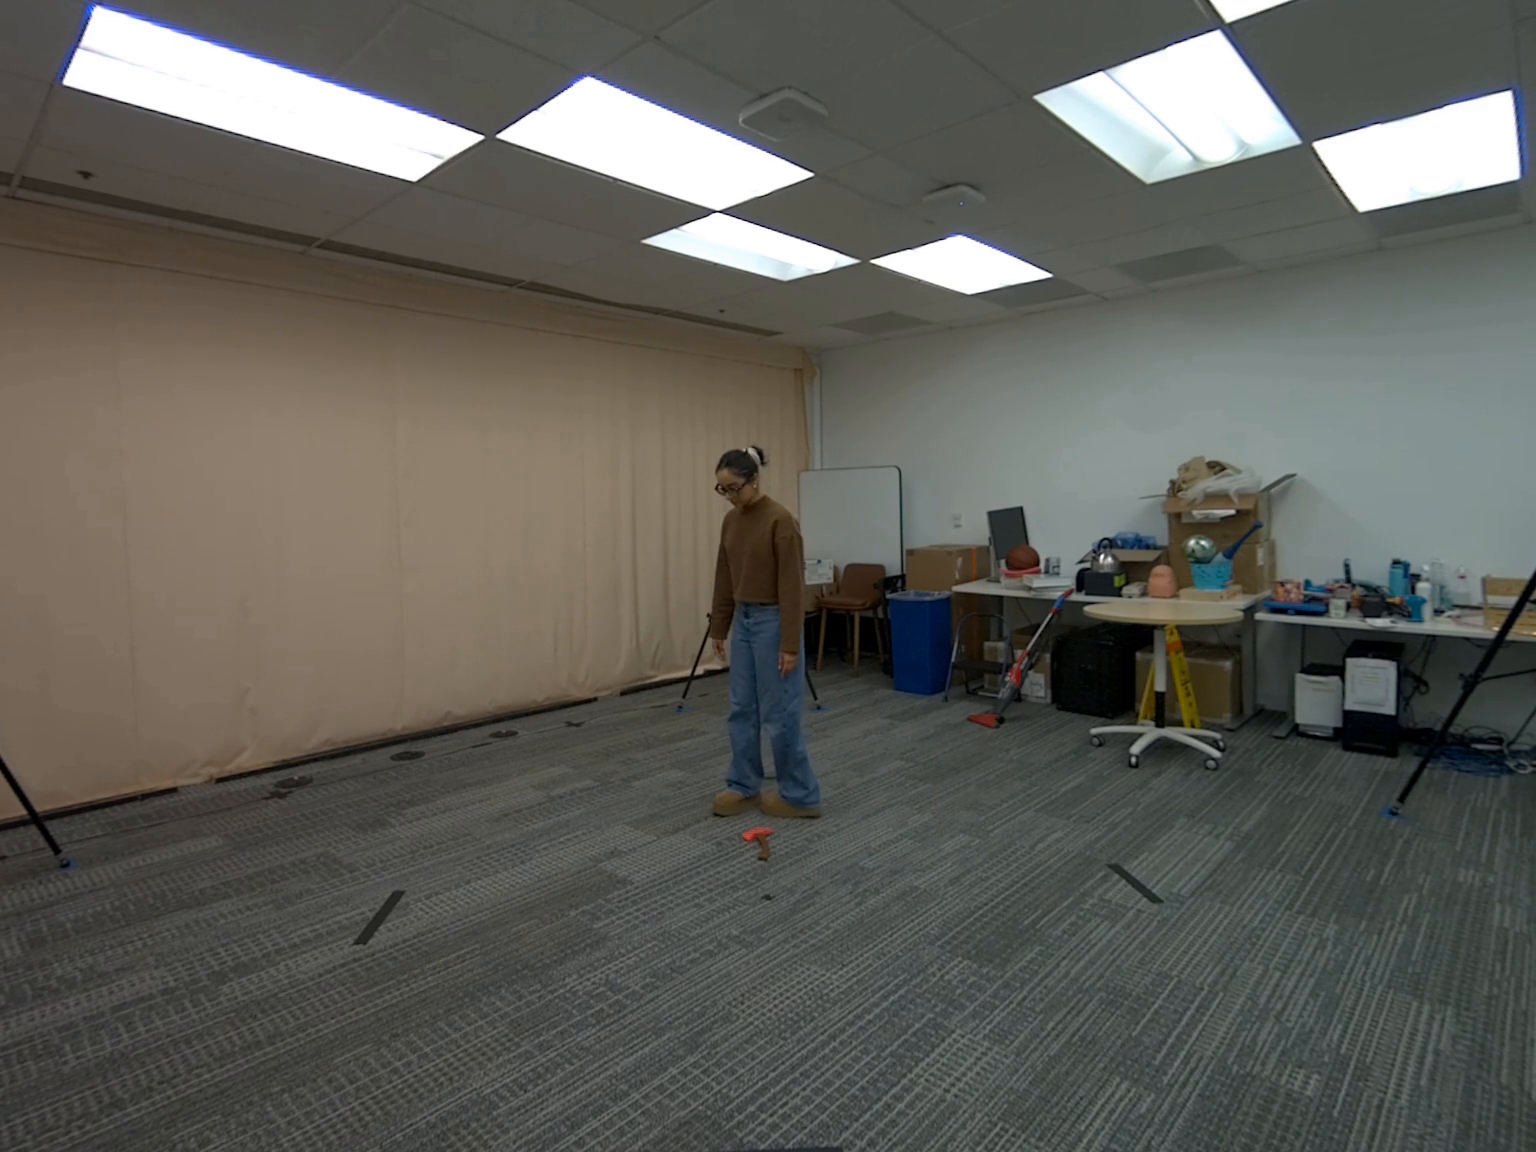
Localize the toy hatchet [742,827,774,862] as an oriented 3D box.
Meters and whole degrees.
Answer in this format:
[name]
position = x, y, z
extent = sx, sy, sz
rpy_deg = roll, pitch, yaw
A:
[toy hatchet]
position = -0.050, 1.086, 3.429
extent = 0.132, 0.029, 0.269
rpy_deg = -2, 7, 7
